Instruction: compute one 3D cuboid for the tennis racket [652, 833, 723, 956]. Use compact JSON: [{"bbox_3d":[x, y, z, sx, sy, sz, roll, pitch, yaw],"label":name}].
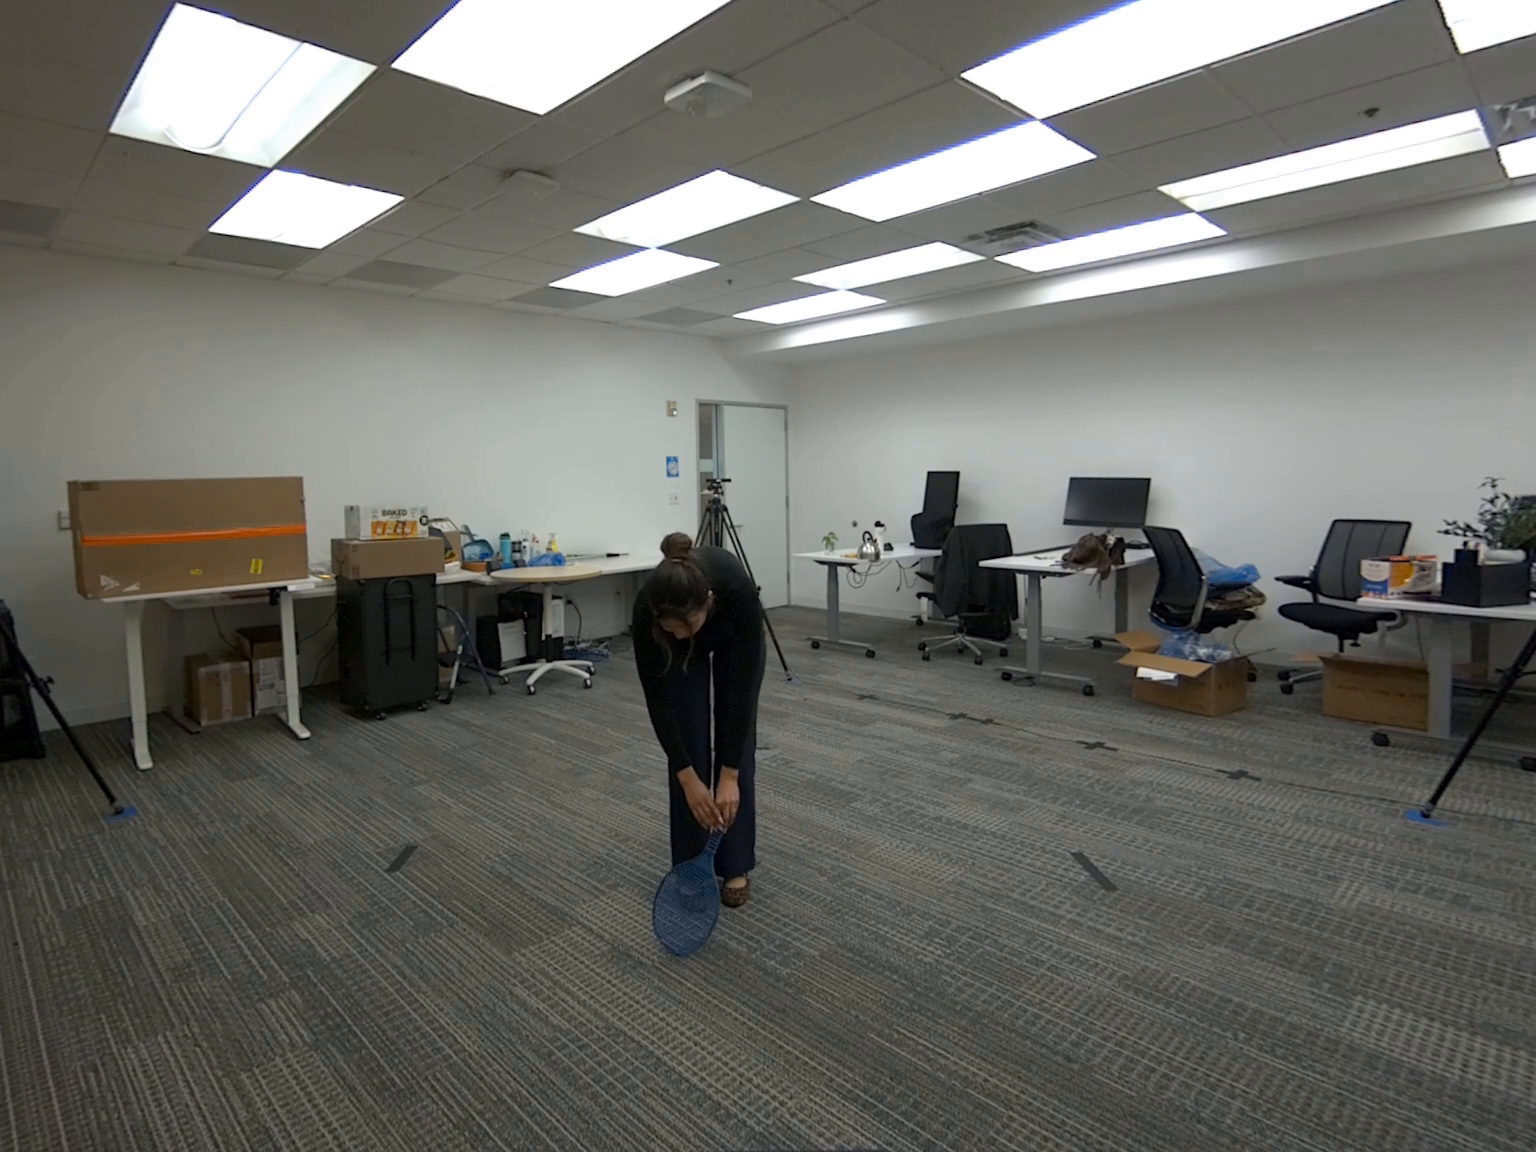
[{"bbox_3d":[-0.211,0.920,2.559,0.220,0.434,0.031,20,-4,24],"label":"tennis racket"}]
